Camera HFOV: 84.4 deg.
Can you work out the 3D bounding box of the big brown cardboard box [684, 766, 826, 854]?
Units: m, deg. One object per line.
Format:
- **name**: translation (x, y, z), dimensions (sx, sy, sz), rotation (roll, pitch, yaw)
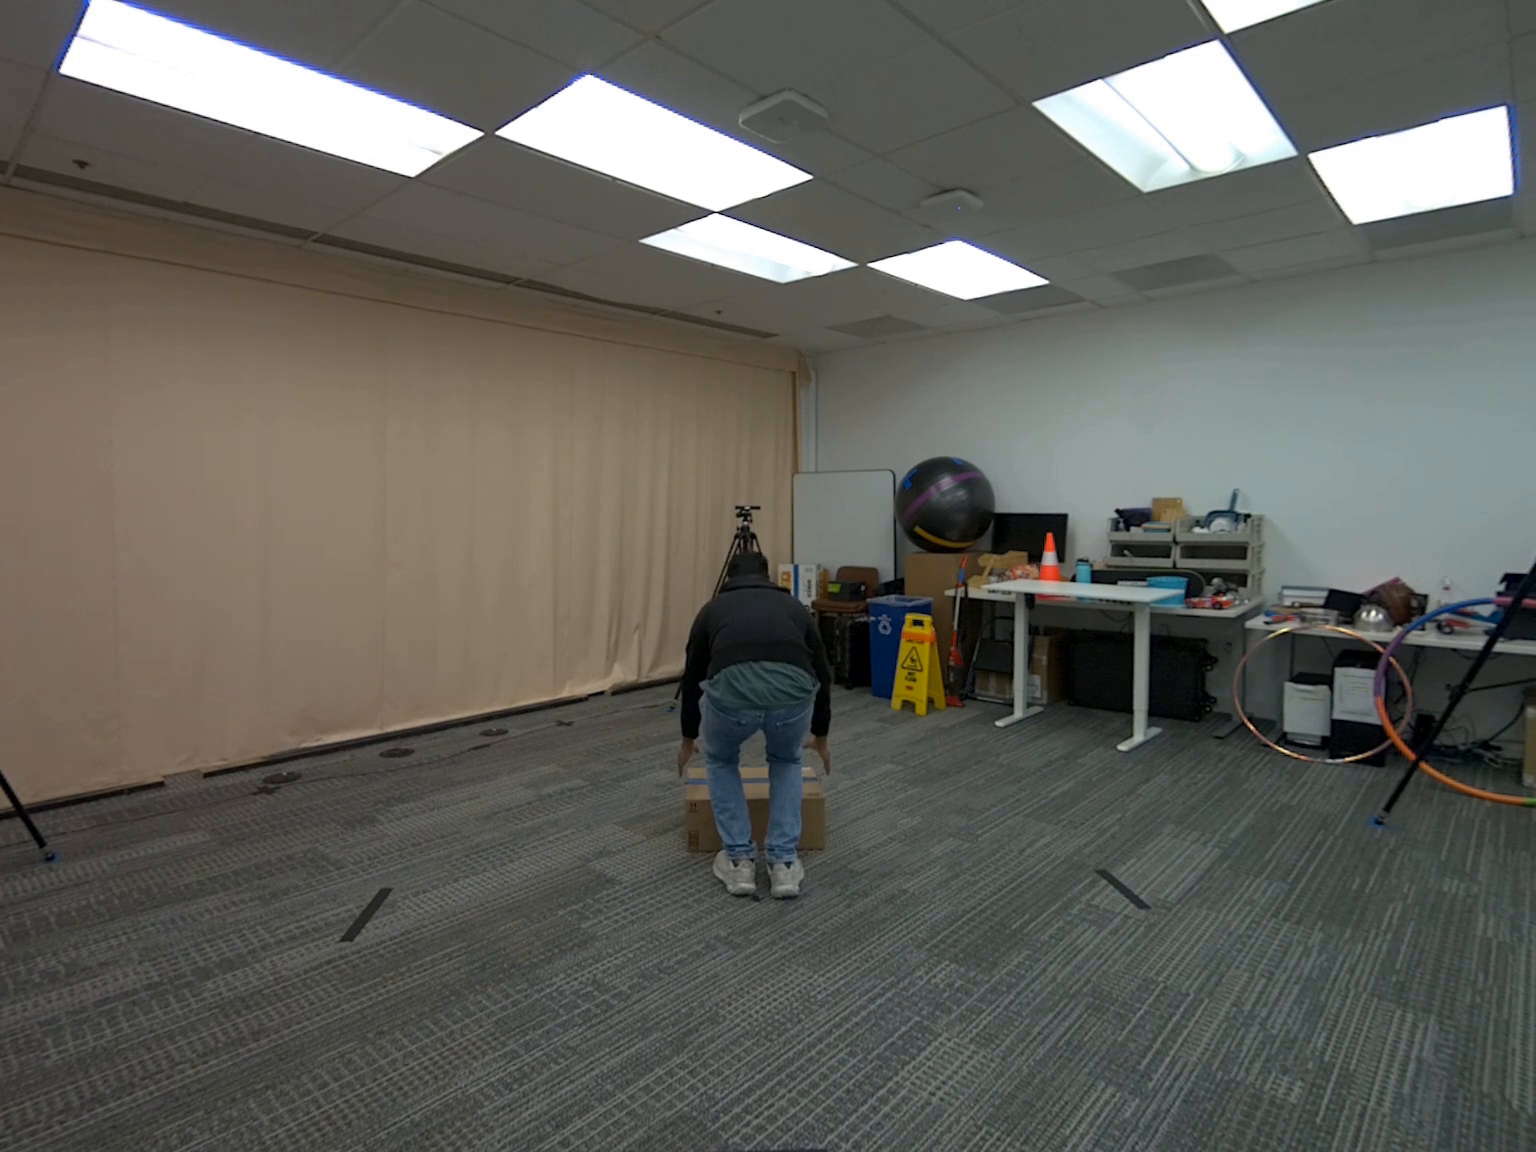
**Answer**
- **big brown cardboard box**: translation (-0.057, 0.985, 3.601), dimensions (0.588, 0.232, 0.419), rotation (-1, 4, -3)
